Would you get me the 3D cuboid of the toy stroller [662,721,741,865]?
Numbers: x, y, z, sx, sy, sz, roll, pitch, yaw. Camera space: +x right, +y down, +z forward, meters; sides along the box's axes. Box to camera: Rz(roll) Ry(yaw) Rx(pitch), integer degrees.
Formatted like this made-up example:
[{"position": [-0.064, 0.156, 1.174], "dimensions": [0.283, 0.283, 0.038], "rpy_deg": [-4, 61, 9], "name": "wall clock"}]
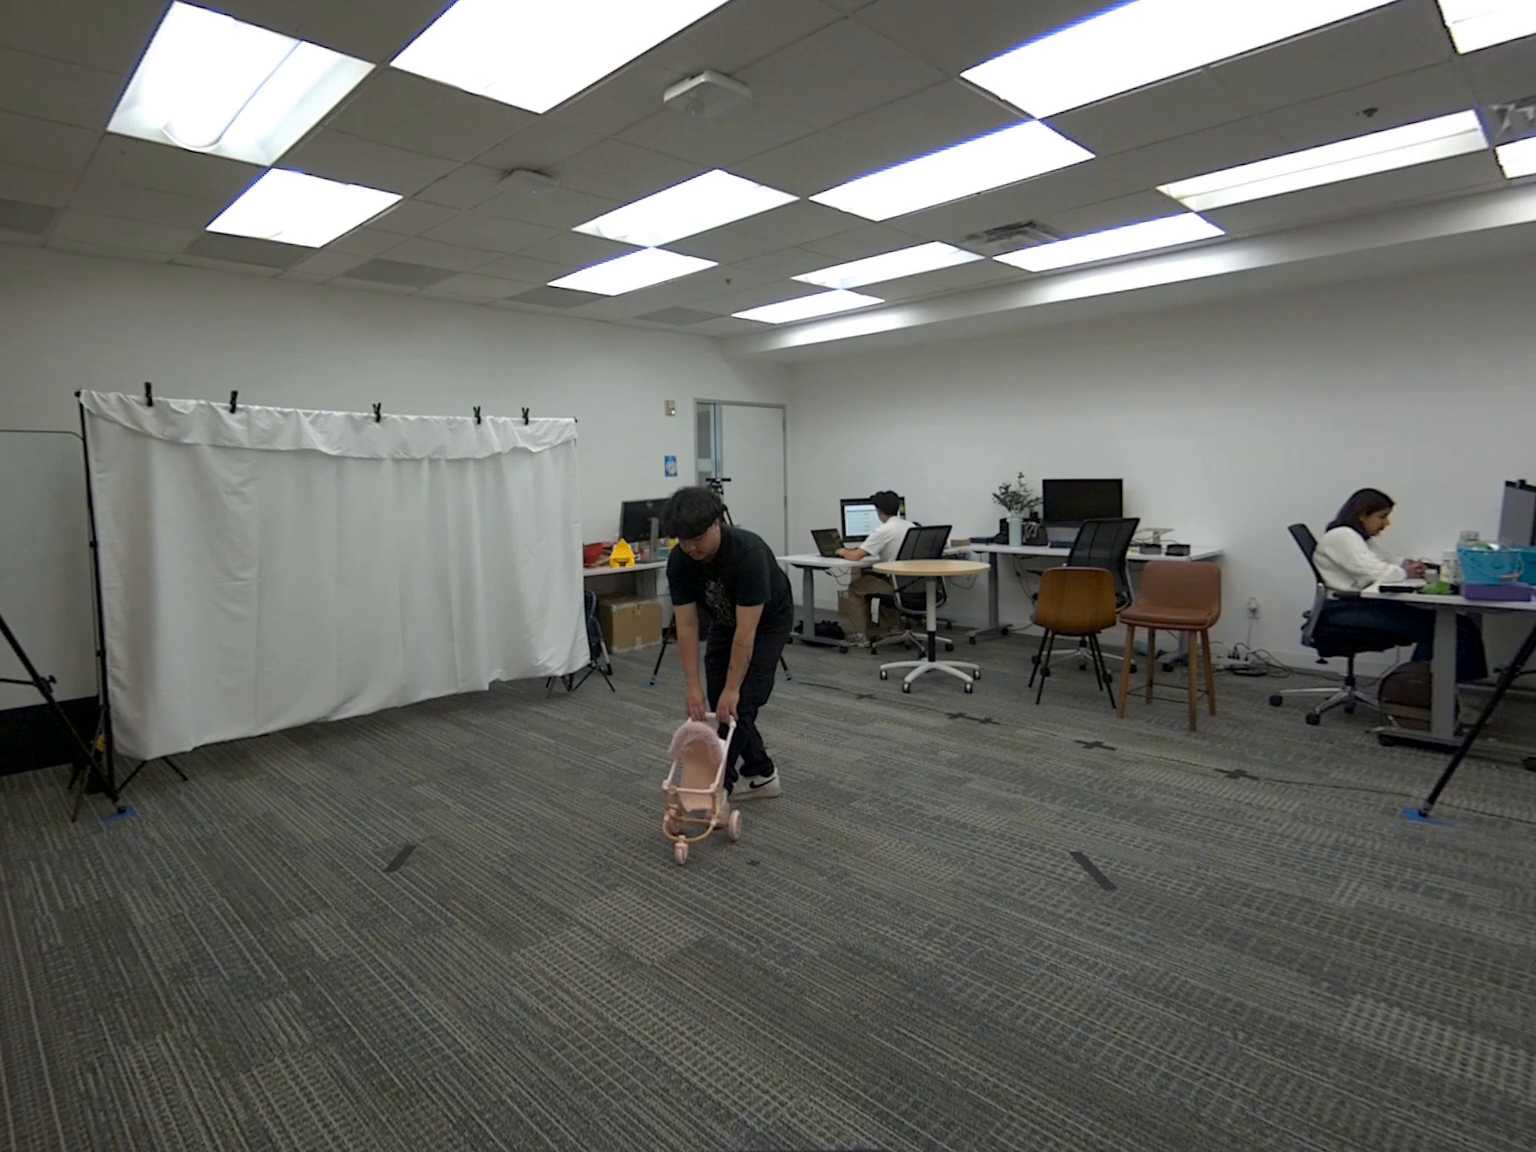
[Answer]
[{"position": [-0.274, 0.802, 3.264], "dimensions": [0.287, 0.539, 0.332], "rpy_deg": [-1, -10, 22], "name": "toy stroller"}]
